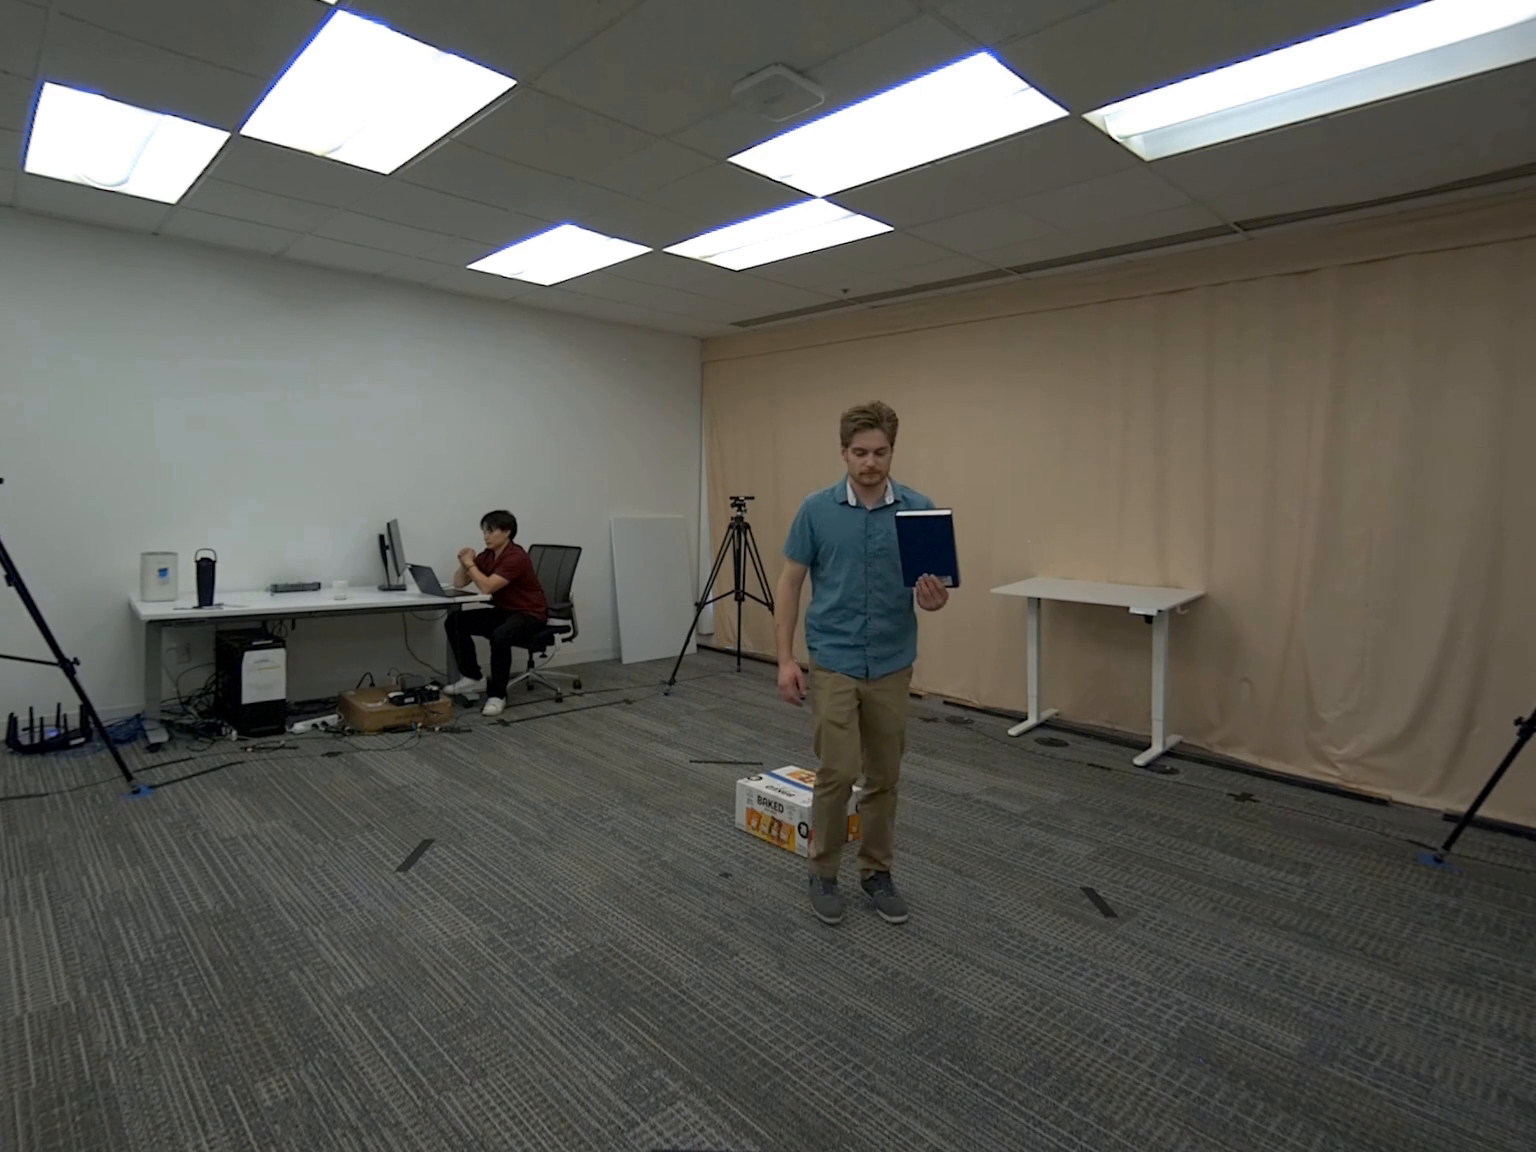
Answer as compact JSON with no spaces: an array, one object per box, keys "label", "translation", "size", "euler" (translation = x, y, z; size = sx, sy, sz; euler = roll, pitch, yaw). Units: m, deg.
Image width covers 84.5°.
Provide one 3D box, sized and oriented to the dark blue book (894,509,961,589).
[{"label":"dark blue book","translation":[0.452,-0.079,2.462],"size":[0.166,0.240,0.045],"euler":[0,28,21]}]
